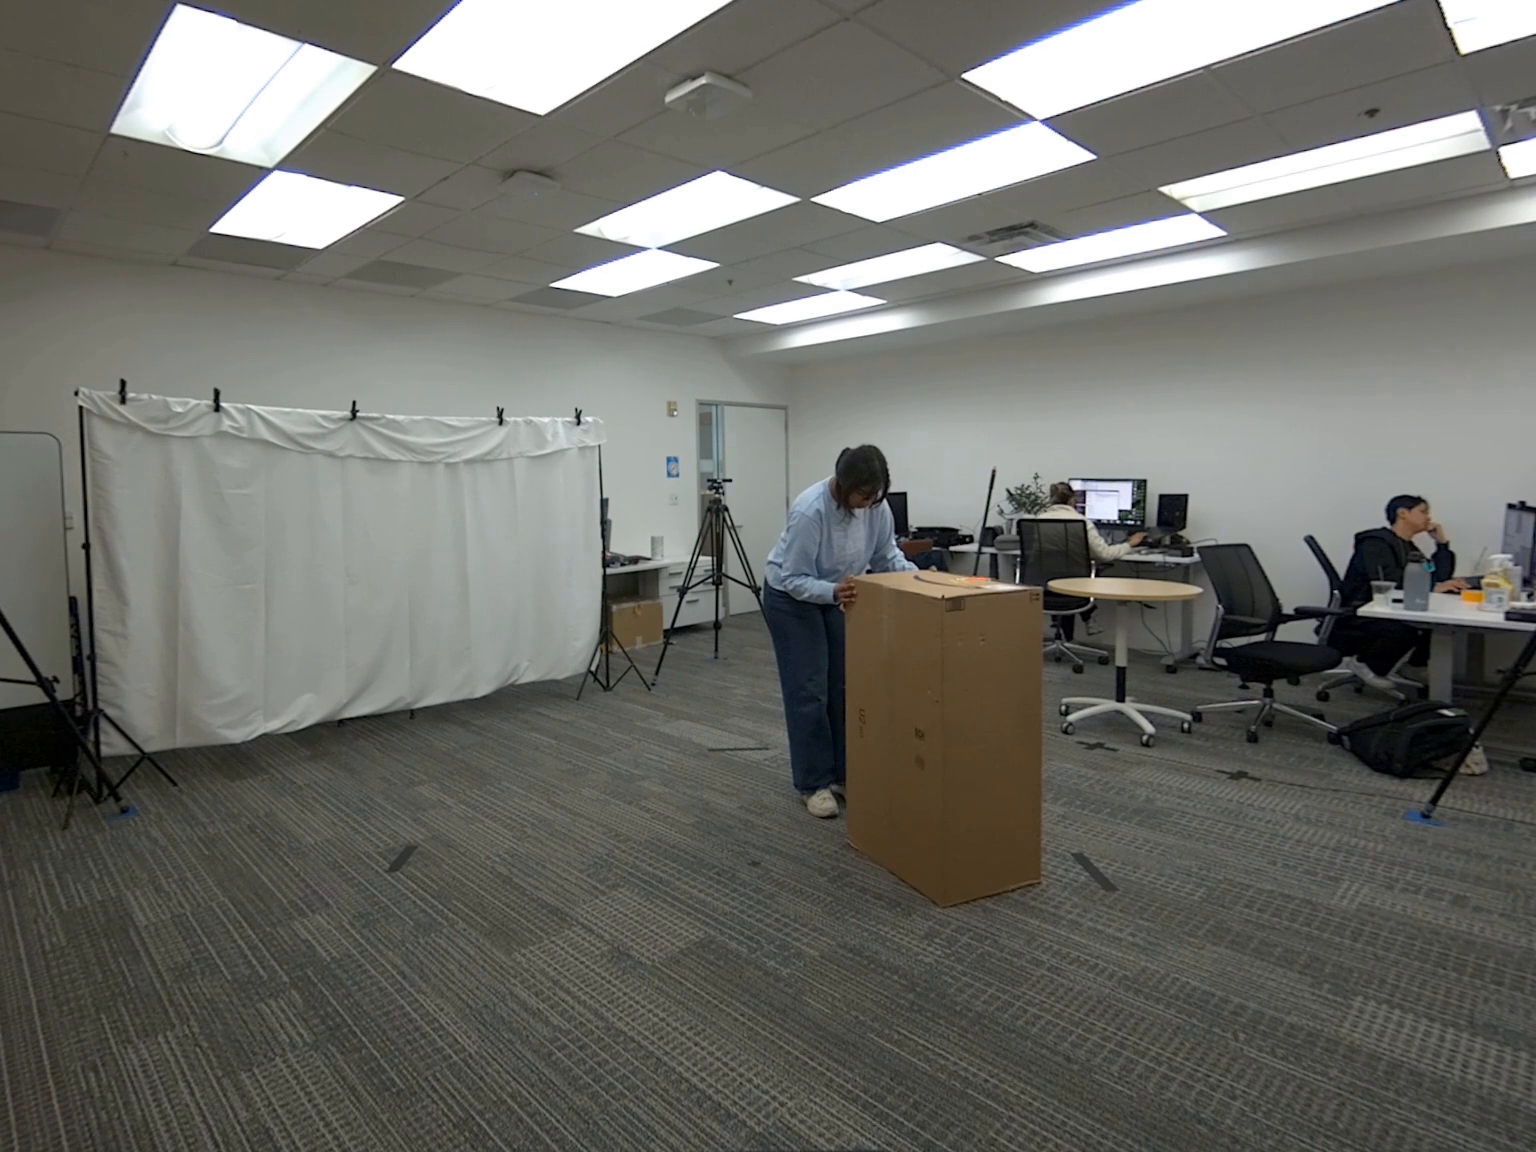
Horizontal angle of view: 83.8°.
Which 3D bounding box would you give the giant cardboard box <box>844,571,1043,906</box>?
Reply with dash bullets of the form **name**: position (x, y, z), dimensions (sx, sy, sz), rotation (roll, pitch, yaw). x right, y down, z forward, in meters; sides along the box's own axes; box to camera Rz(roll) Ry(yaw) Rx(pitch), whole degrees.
- **giant cardboard box**: position (0.621, 0.534, 3.065), dimensions (0.417, 1.022, 0.593), rotation (-3, 5, -27)
